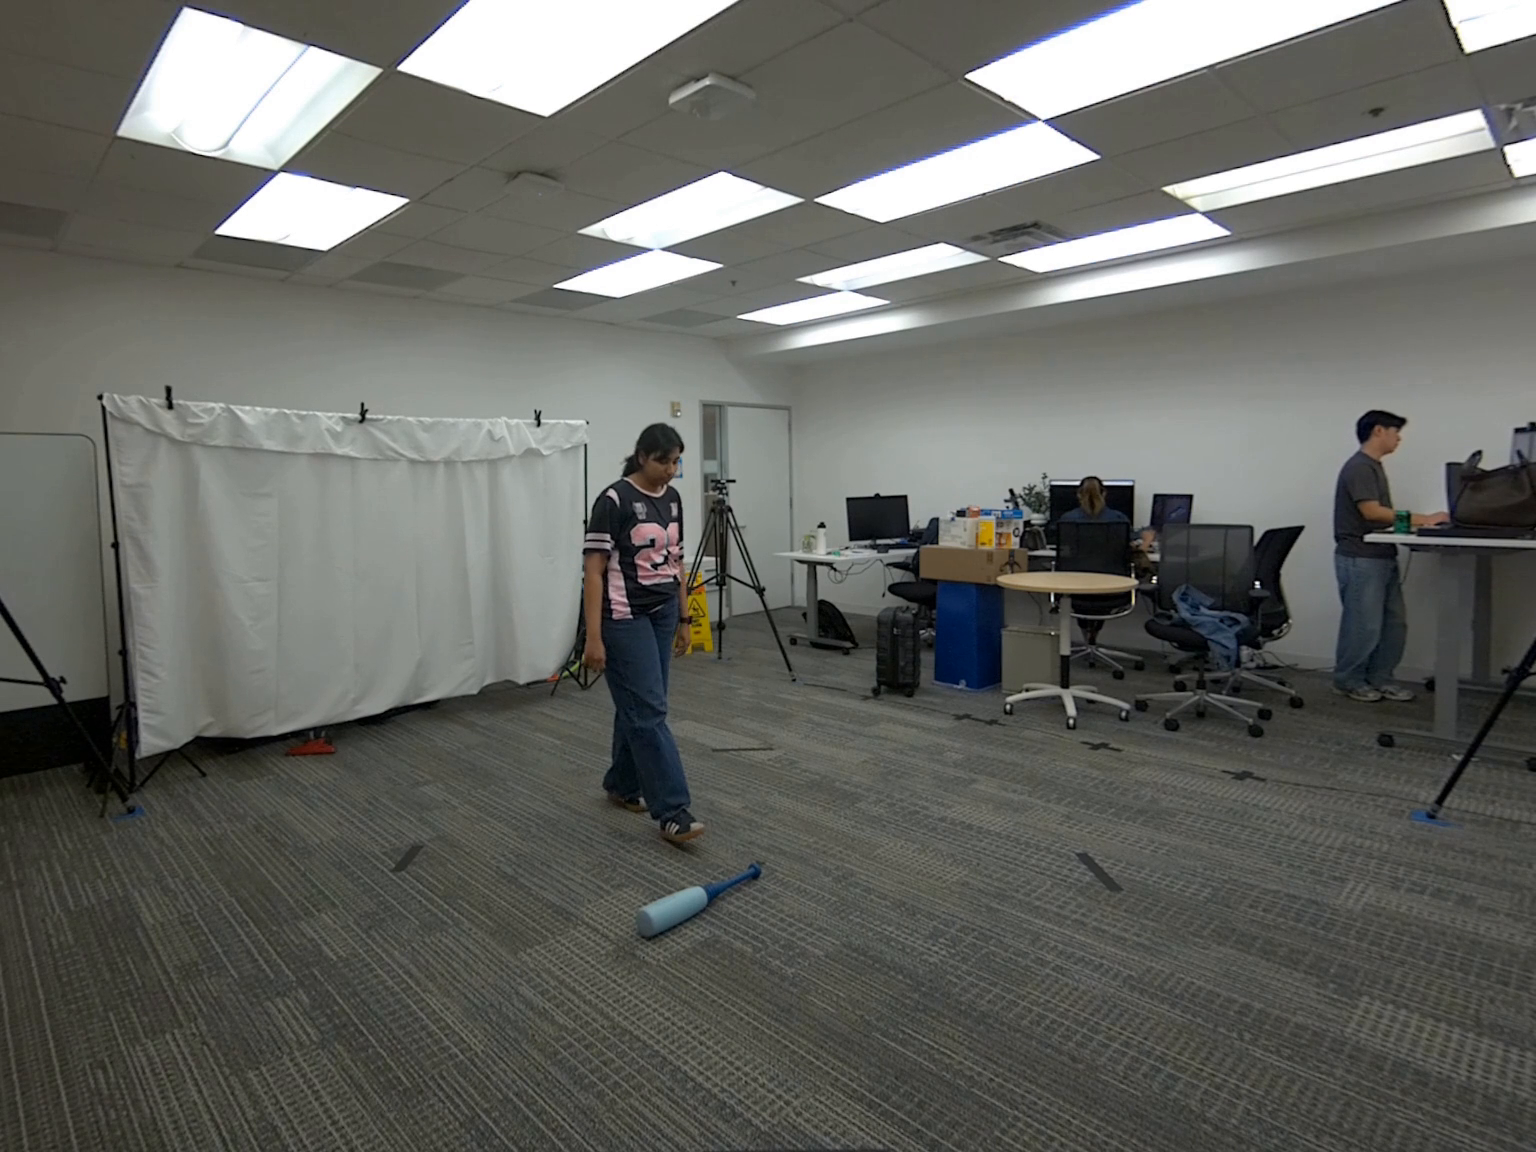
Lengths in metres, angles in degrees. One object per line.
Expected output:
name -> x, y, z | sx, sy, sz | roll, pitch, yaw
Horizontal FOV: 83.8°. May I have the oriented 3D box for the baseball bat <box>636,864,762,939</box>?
baseball bat -> -0.205, 1.050, 2.801 | 0.092, 0.089, 0.528 | 3, 5, 41
